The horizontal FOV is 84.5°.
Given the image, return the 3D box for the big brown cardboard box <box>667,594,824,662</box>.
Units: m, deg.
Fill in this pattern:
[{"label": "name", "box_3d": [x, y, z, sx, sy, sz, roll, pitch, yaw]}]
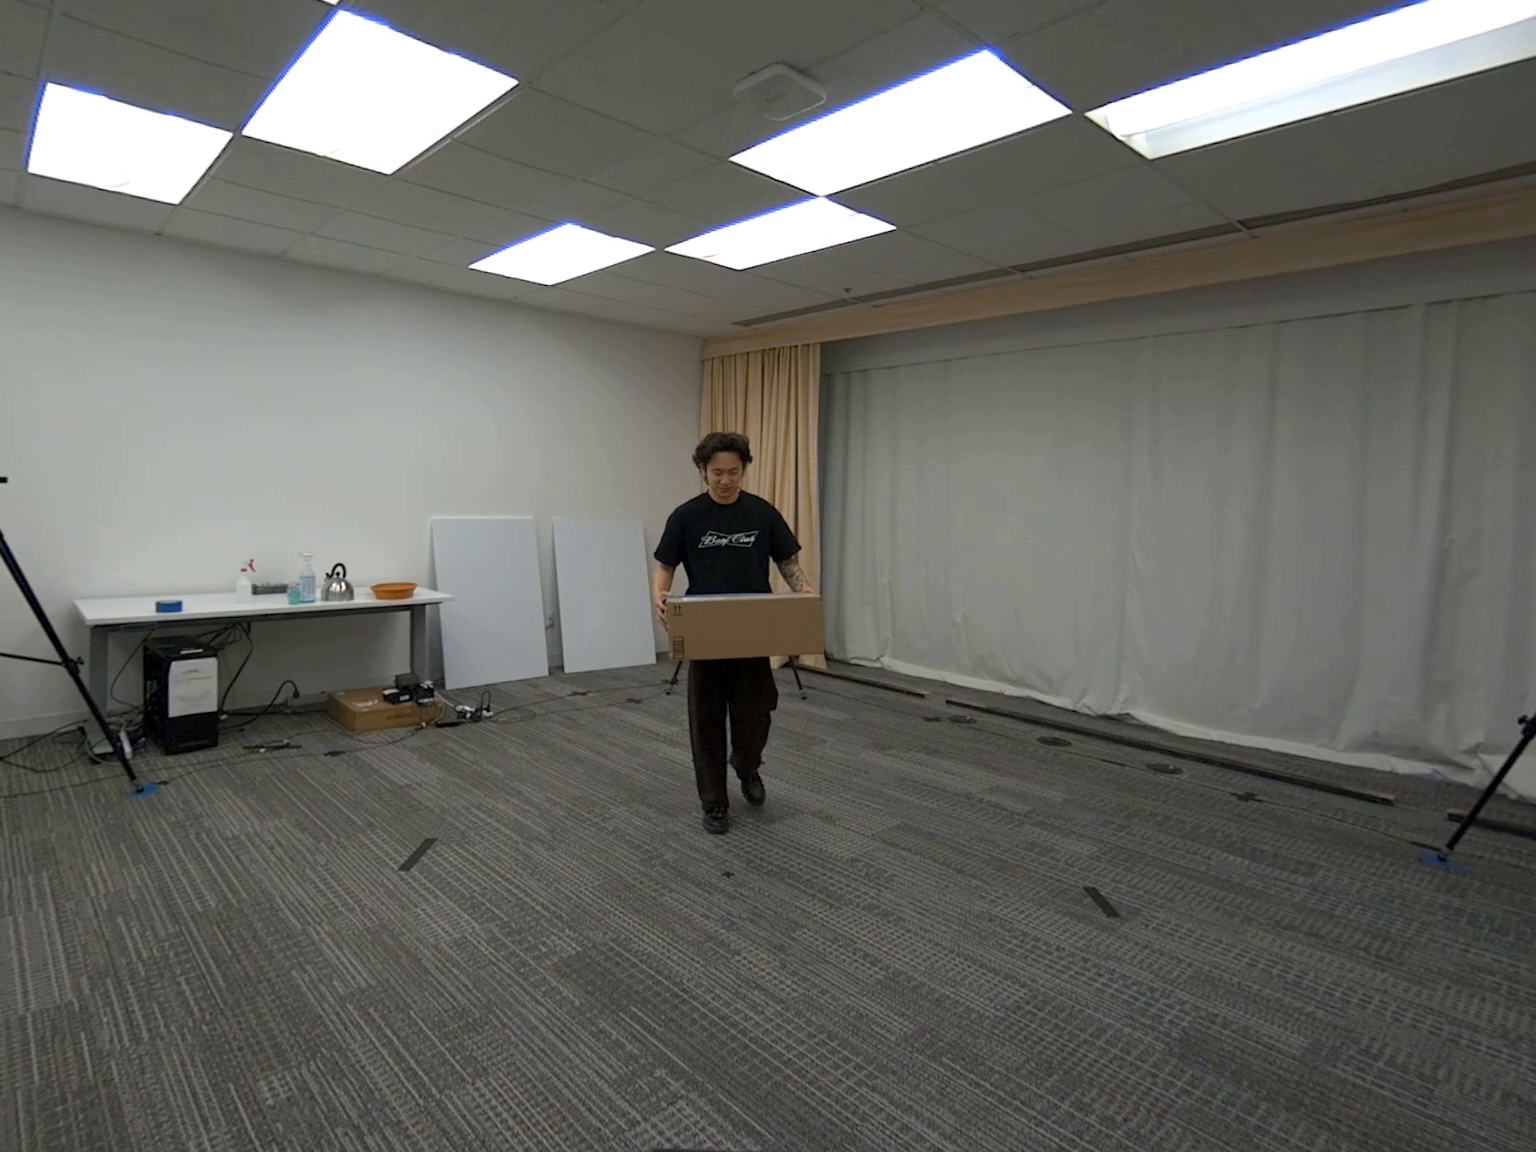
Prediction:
[{"label": "big brown cardboard box", "box_3d": [-0.119, 0.185, 3.249, 0.585, 0.233, 0.420, -1, 0, -8]}]
